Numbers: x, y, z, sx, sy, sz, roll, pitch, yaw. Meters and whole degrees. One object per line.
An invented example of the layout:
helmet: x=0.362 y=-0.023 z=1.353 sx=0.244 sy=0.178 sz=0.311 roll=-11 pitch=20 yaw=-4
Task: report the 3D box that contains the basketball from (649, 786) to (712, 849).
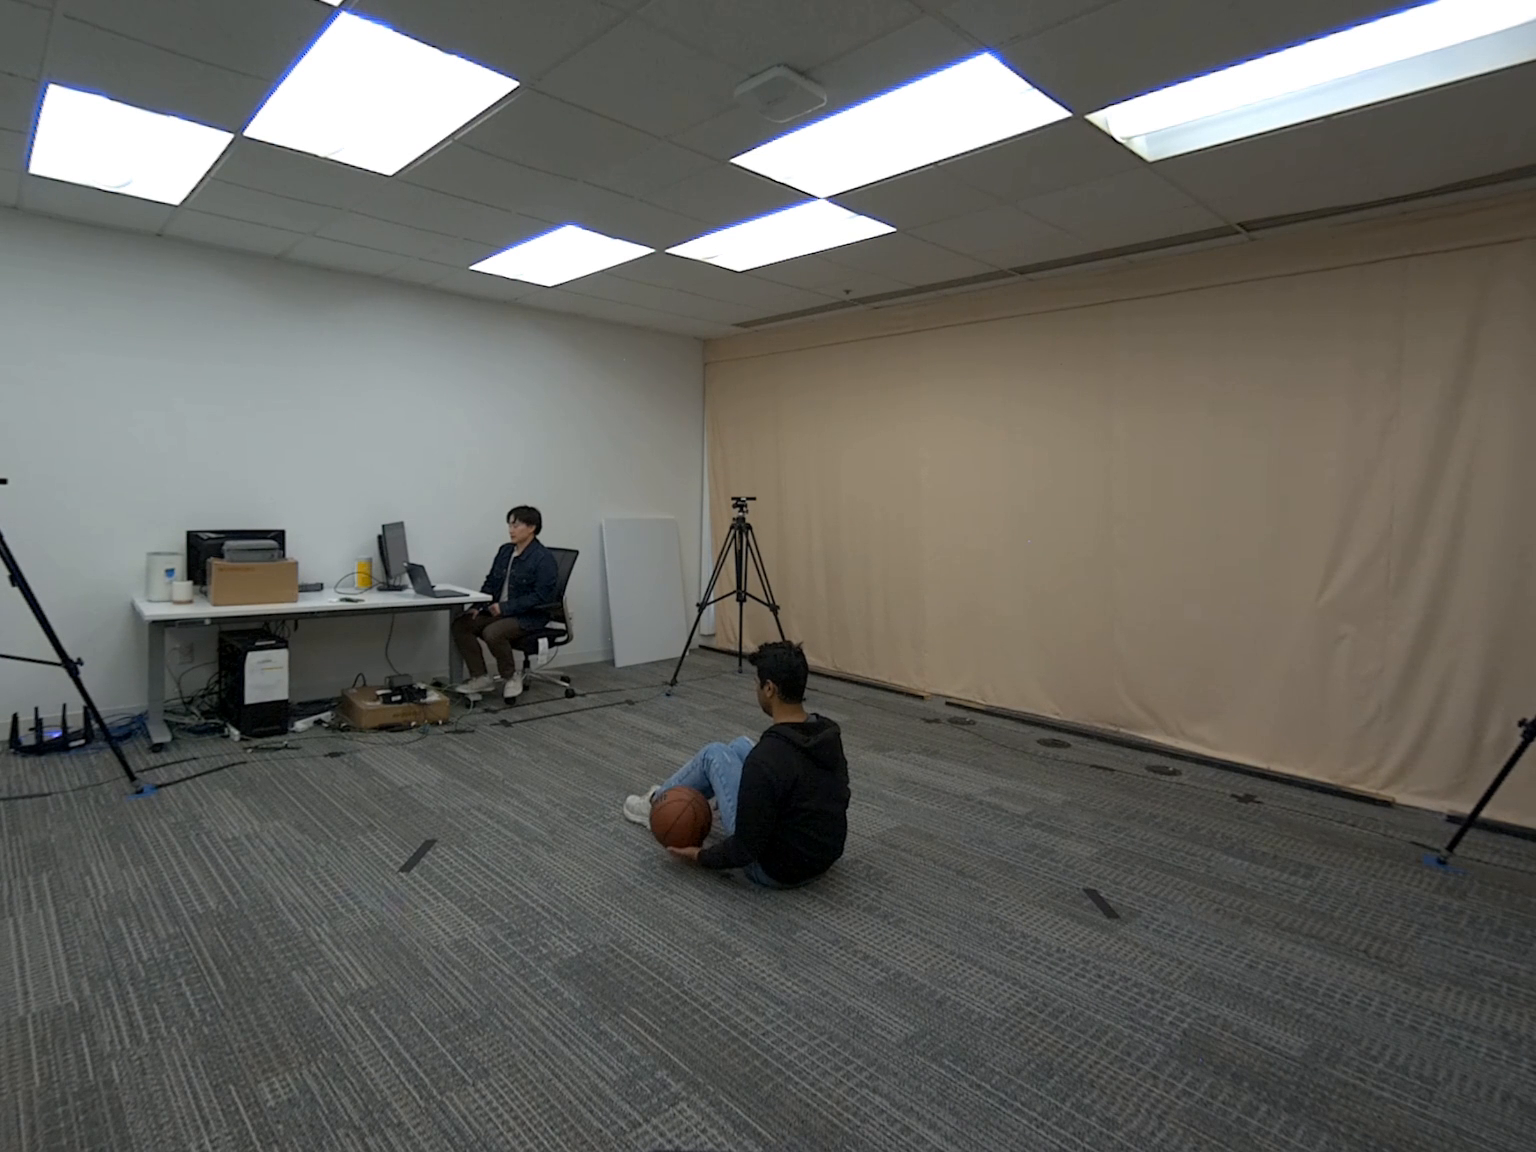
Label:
basketball: x=-0.341 y=0.901 z=3.198 sx=0.236 sy=0.235 sz=0.237 roll=1 pitch=4 yaw=-1
